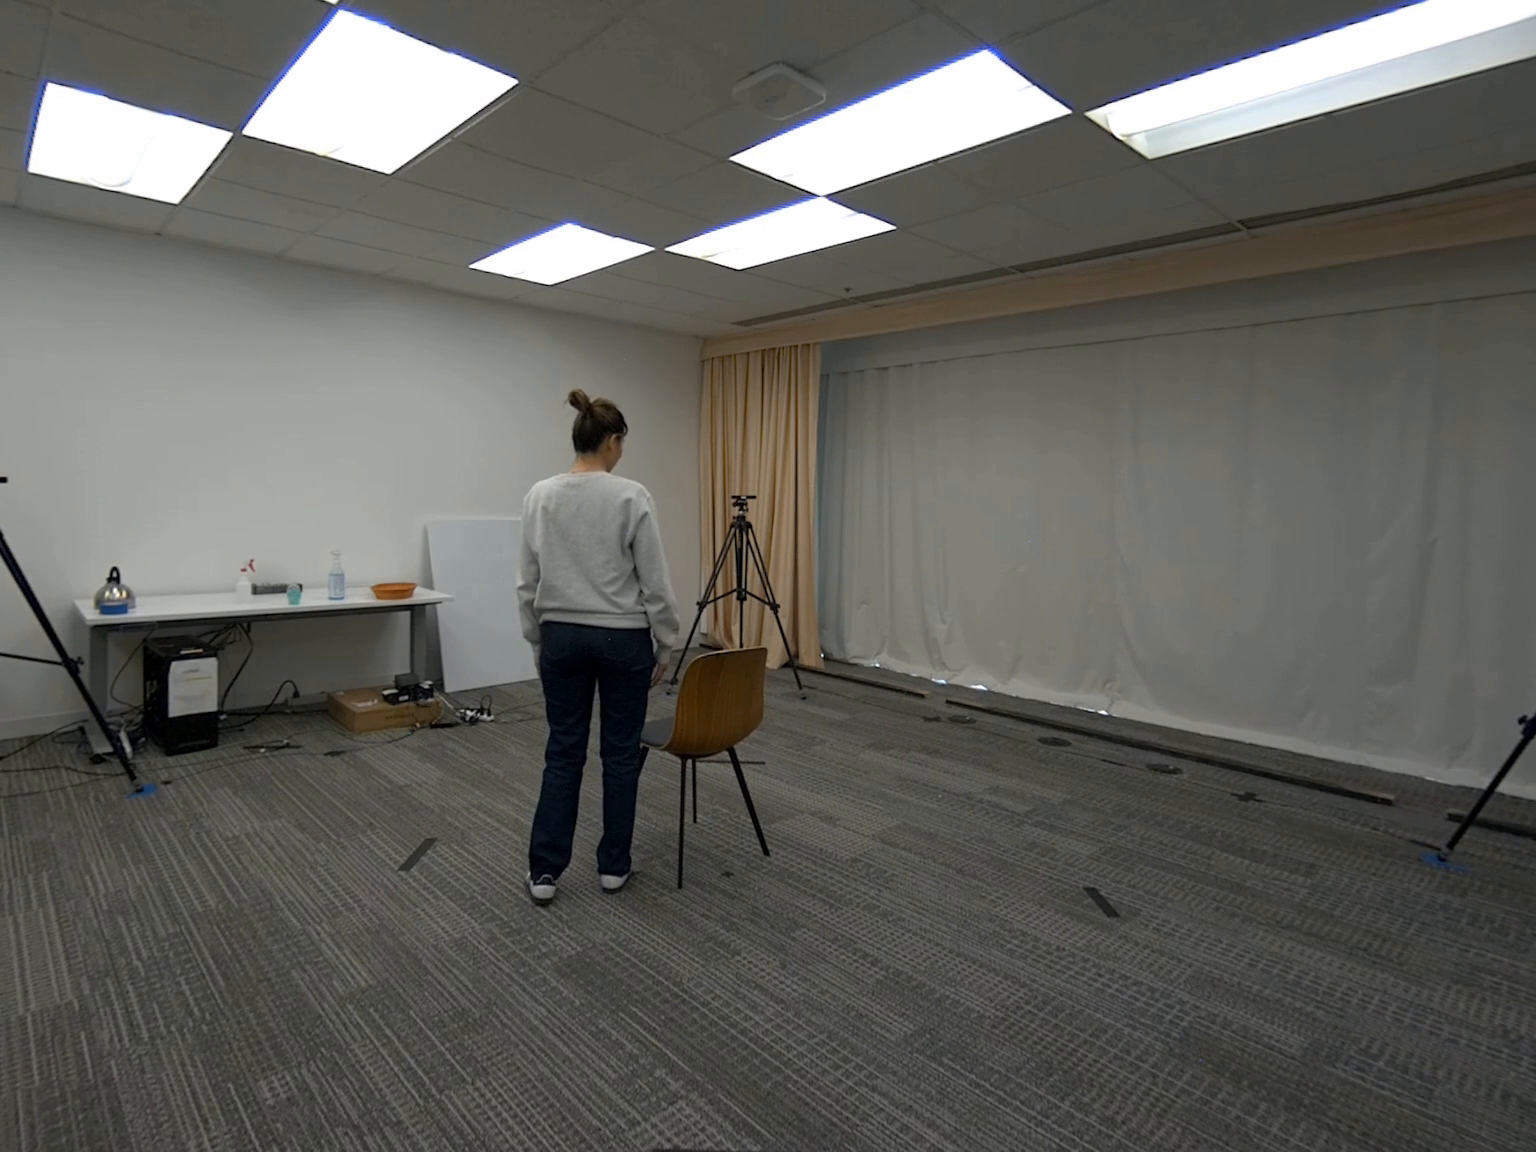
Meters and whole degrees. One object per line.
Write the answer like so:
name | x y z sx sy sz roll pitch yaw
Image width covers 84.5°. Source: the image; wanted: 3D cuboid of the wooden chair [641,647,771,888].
wooden chair | -0.308 0.658 3.268 0.467 0.873 0.537 -2 9 -43
